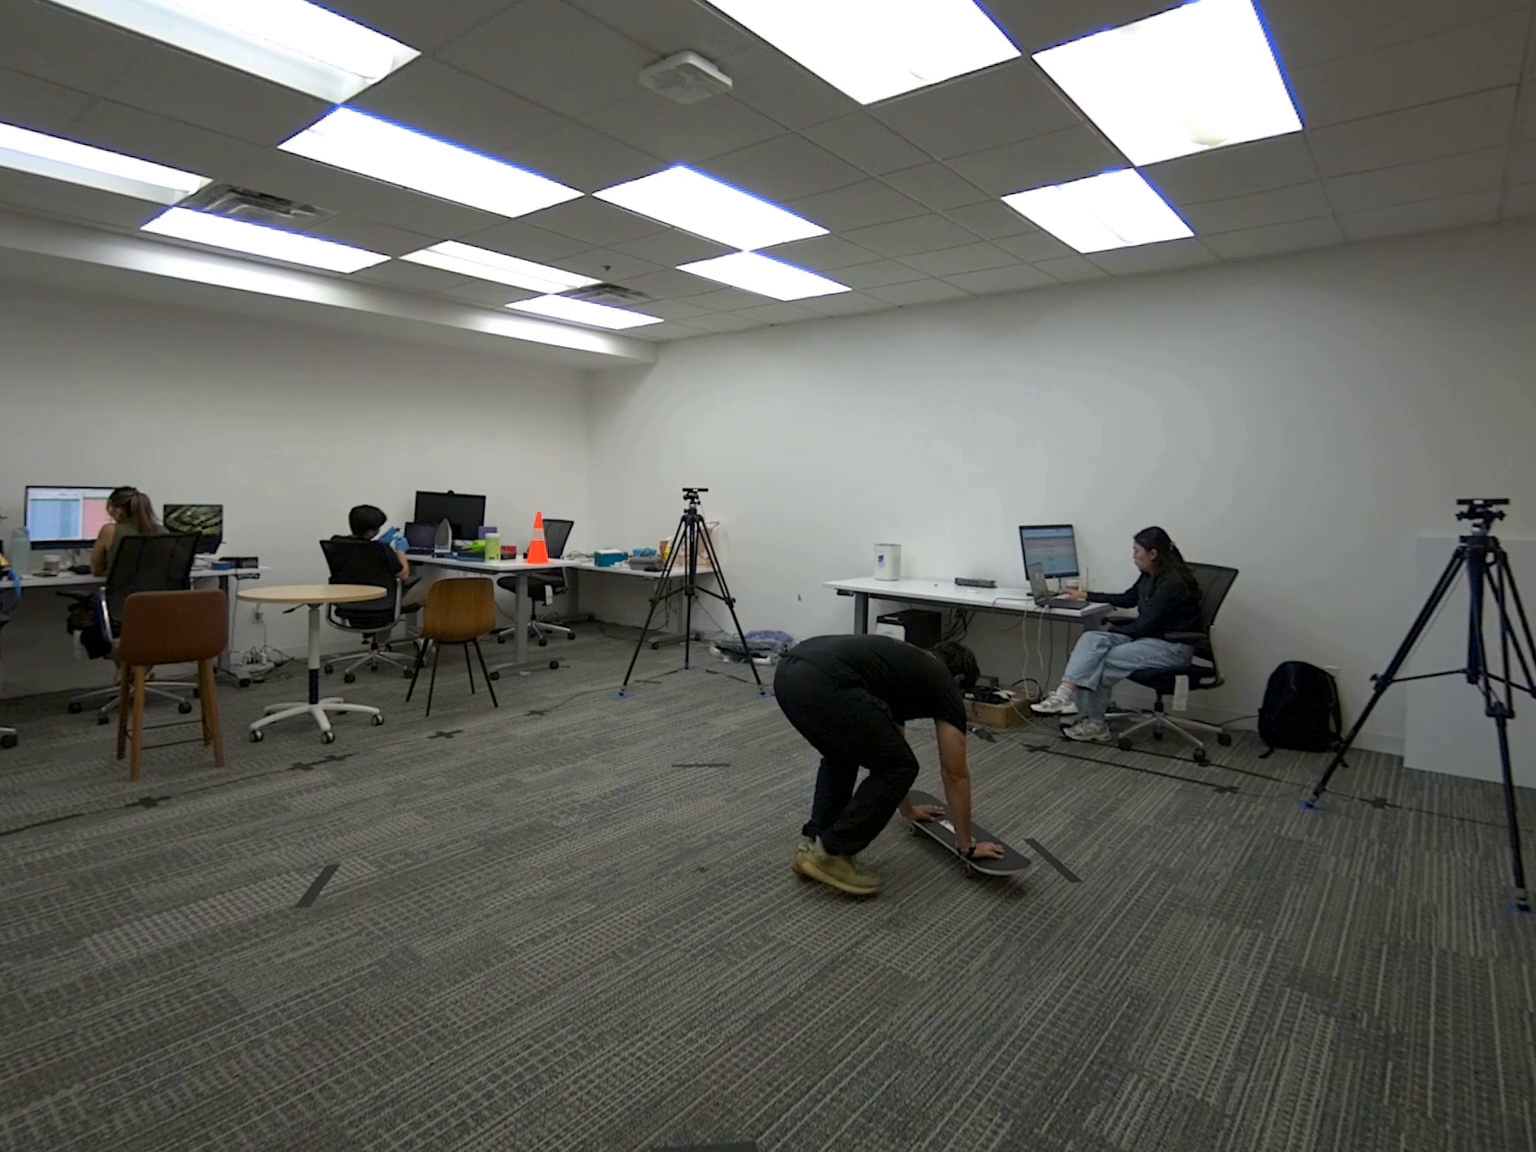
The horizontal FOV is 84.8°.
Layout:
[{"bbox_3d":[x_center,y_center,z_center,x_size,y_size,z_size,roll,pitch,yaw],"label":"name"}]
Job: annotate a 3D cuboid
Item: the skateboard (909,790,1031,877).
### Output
[{"bbox_3d":[0.724,1.014,3.308,0.190,0.109,0.804,-6,8,-19],"label":"skateboard"}]
